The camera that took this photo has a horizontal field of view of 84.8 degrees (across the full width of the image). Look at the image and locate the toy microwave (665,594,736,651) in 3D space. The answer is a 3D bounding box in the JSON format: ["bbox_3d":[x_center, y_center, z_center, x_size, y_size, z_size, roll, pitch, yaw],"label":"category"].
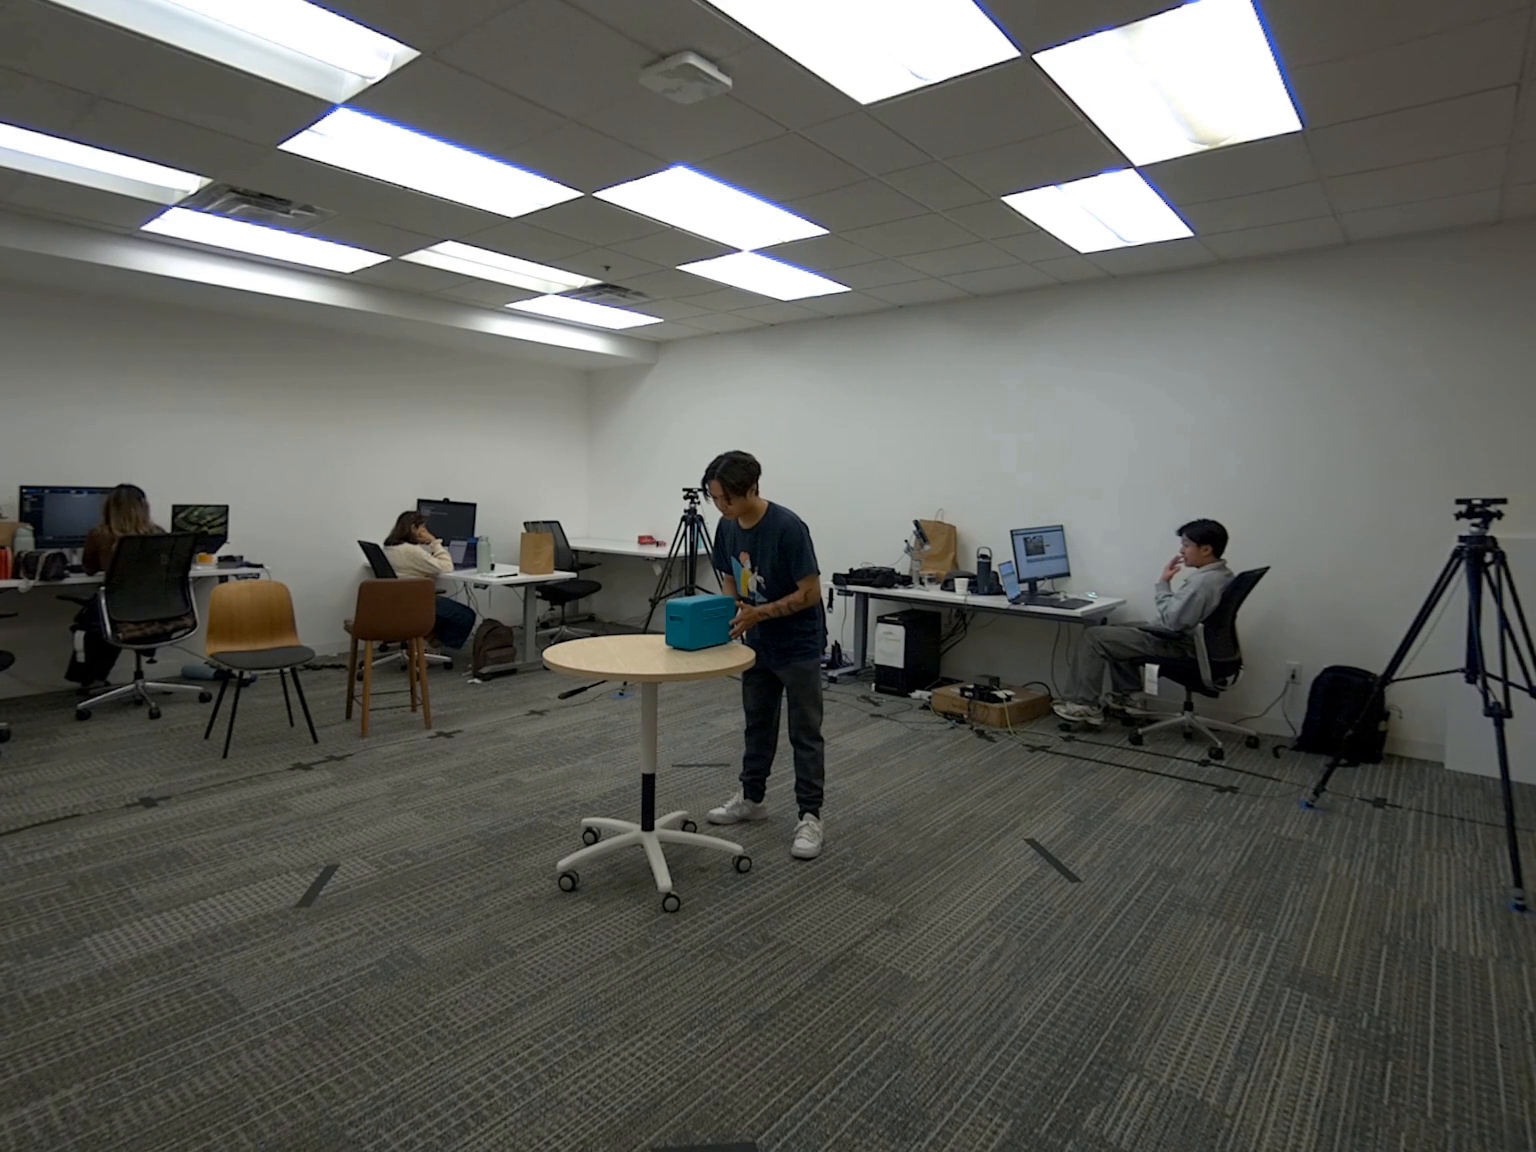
[{"bbox_3d":[-0.277,0.171,3.230,0.157,0.183,0.278,3,5,35],"label":"toy microwave"}]
